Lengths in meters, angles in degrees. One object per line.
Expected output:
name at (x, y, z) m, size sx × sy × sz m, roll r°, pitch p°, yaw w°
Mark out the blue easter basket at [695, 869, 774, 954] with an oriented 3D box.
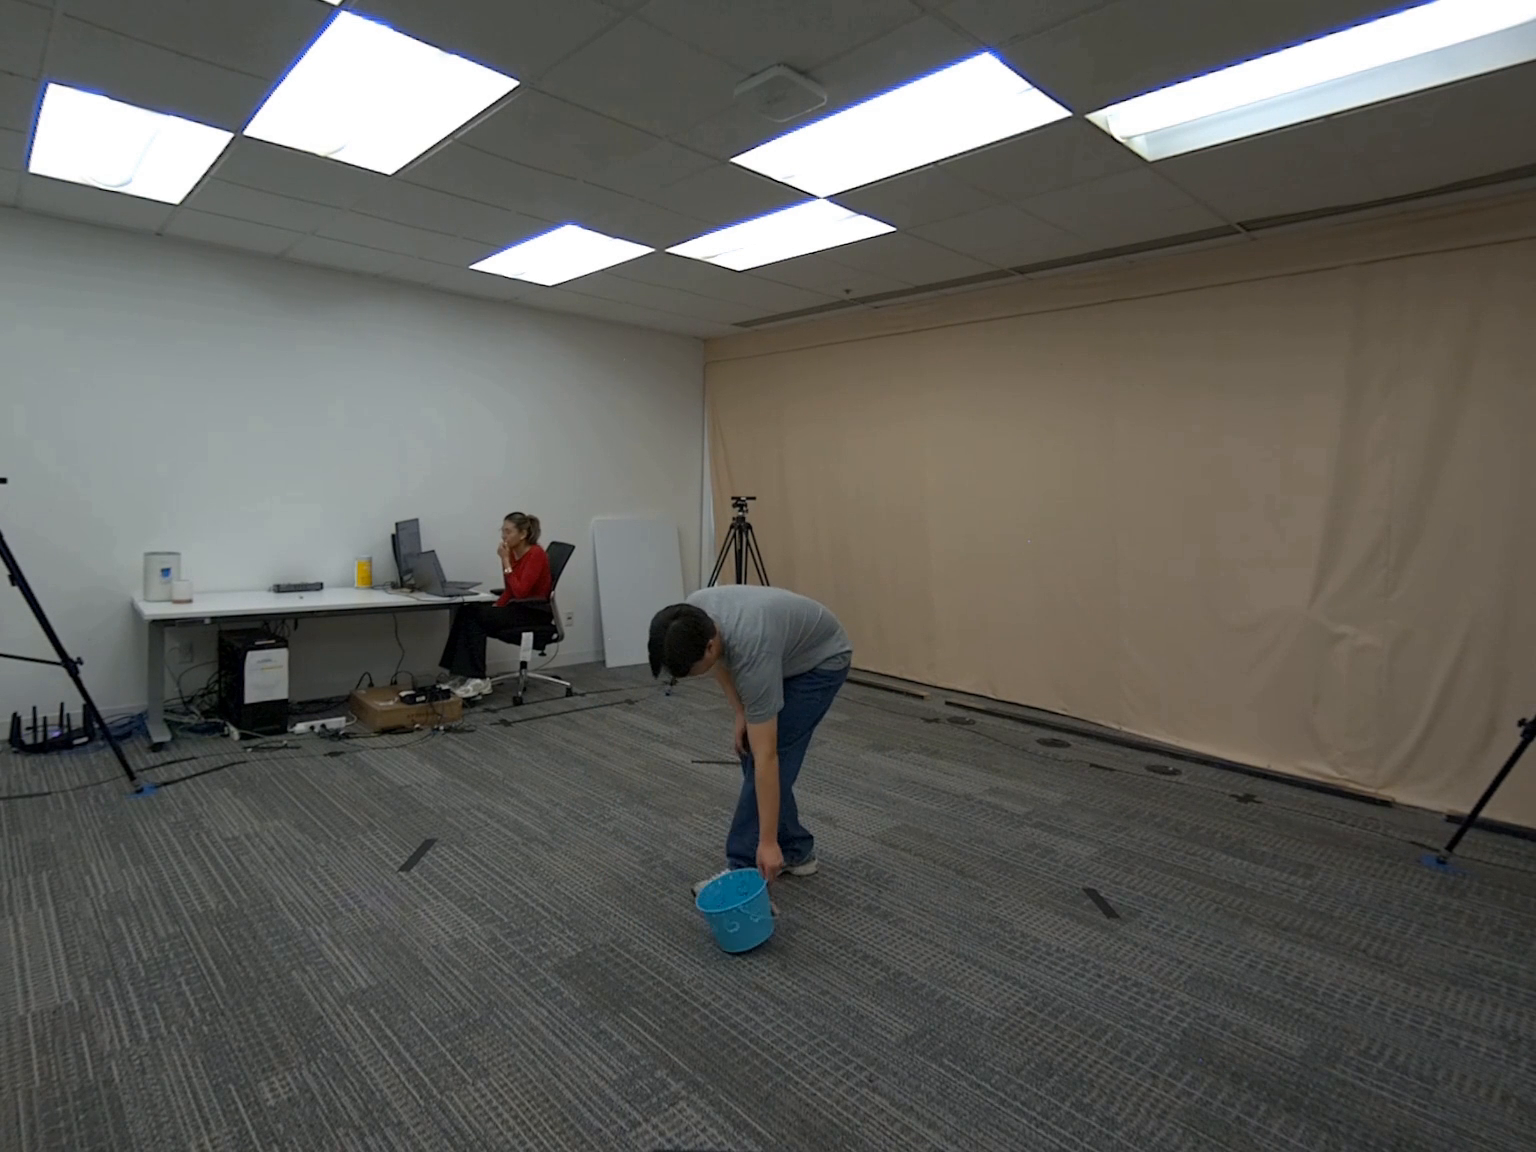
blue easter basket at (-0.098, 1.049, 2.622) m, size 0.244 × 0.155 × 0.245 m, roll -18°, pitch 7°, yaw 1°
